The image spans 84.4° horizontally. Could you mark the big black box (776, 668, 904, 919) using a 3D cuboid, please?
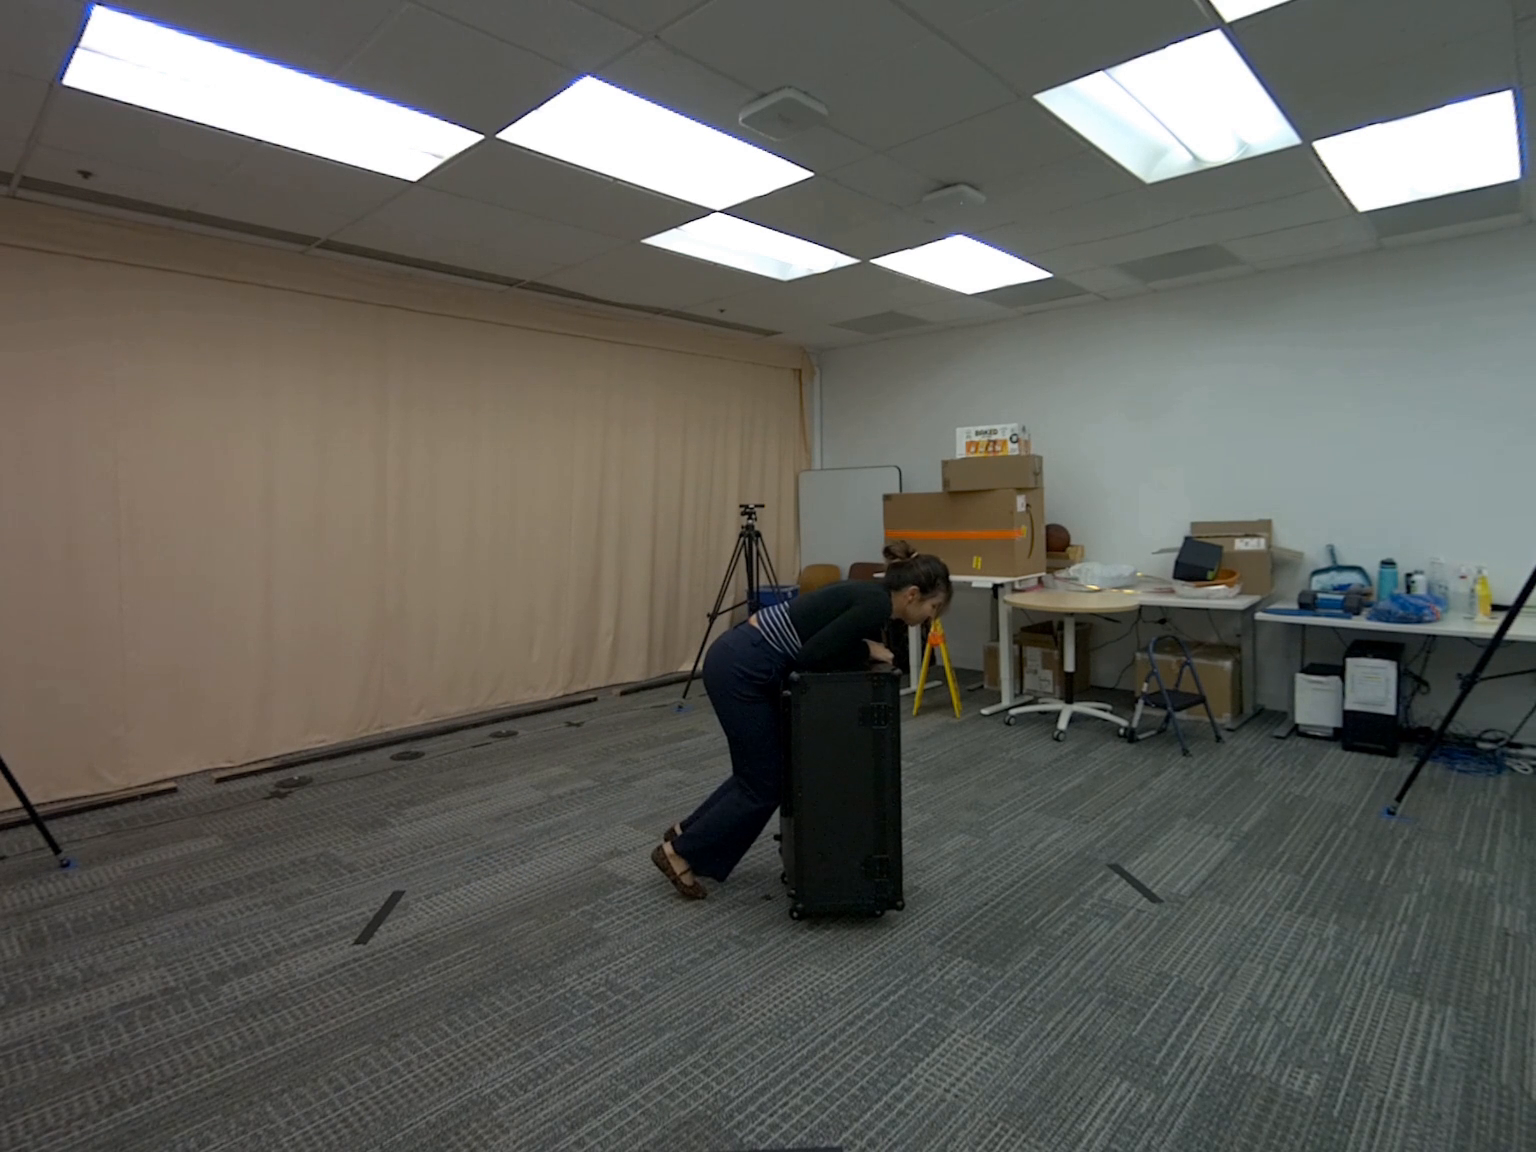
[{"bbox_3d":[0.232,0.721,2.938,0.396,0.859,0.523,-2,4,-3],"label":"big black box"}]
